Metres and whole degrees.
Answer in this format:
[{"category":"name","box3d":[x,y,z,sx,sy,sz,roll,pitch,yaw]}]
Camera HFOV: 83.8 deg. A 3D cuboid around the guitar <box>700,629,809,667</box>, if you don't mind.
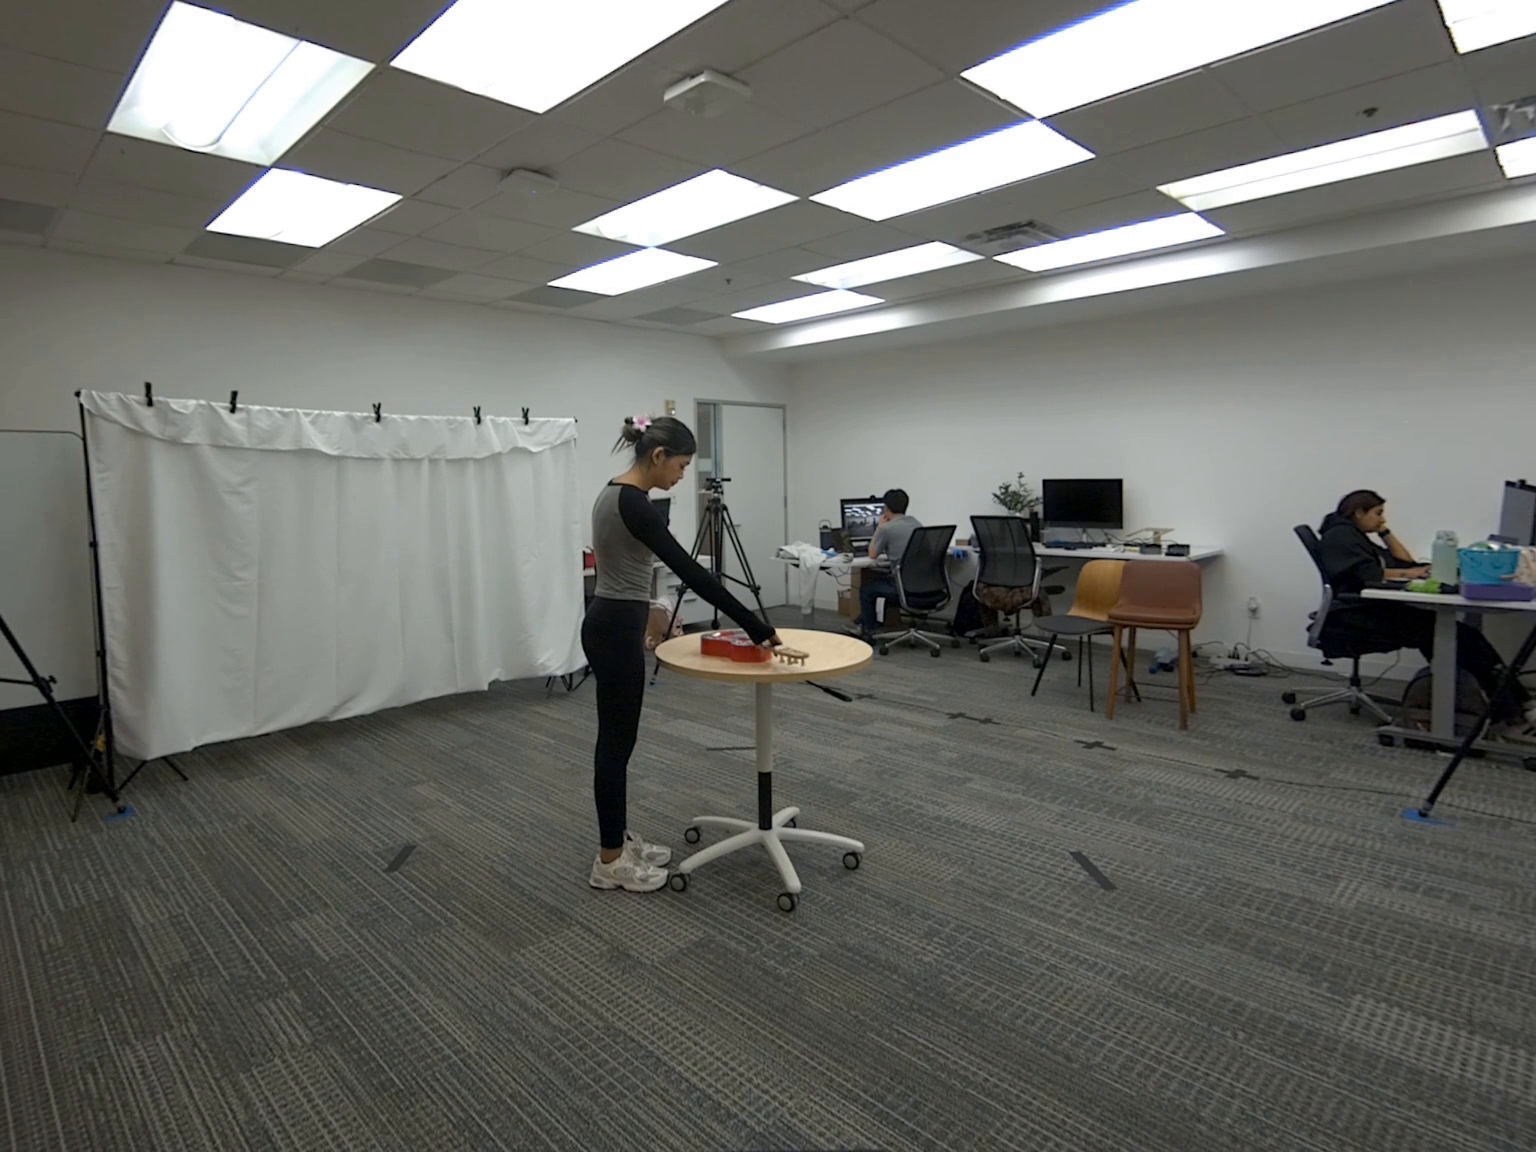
[{"category":"guitar","box3d":[-0.064,0.252,2.823,0.189,0.070,0.511,-5,9,-26]}]
